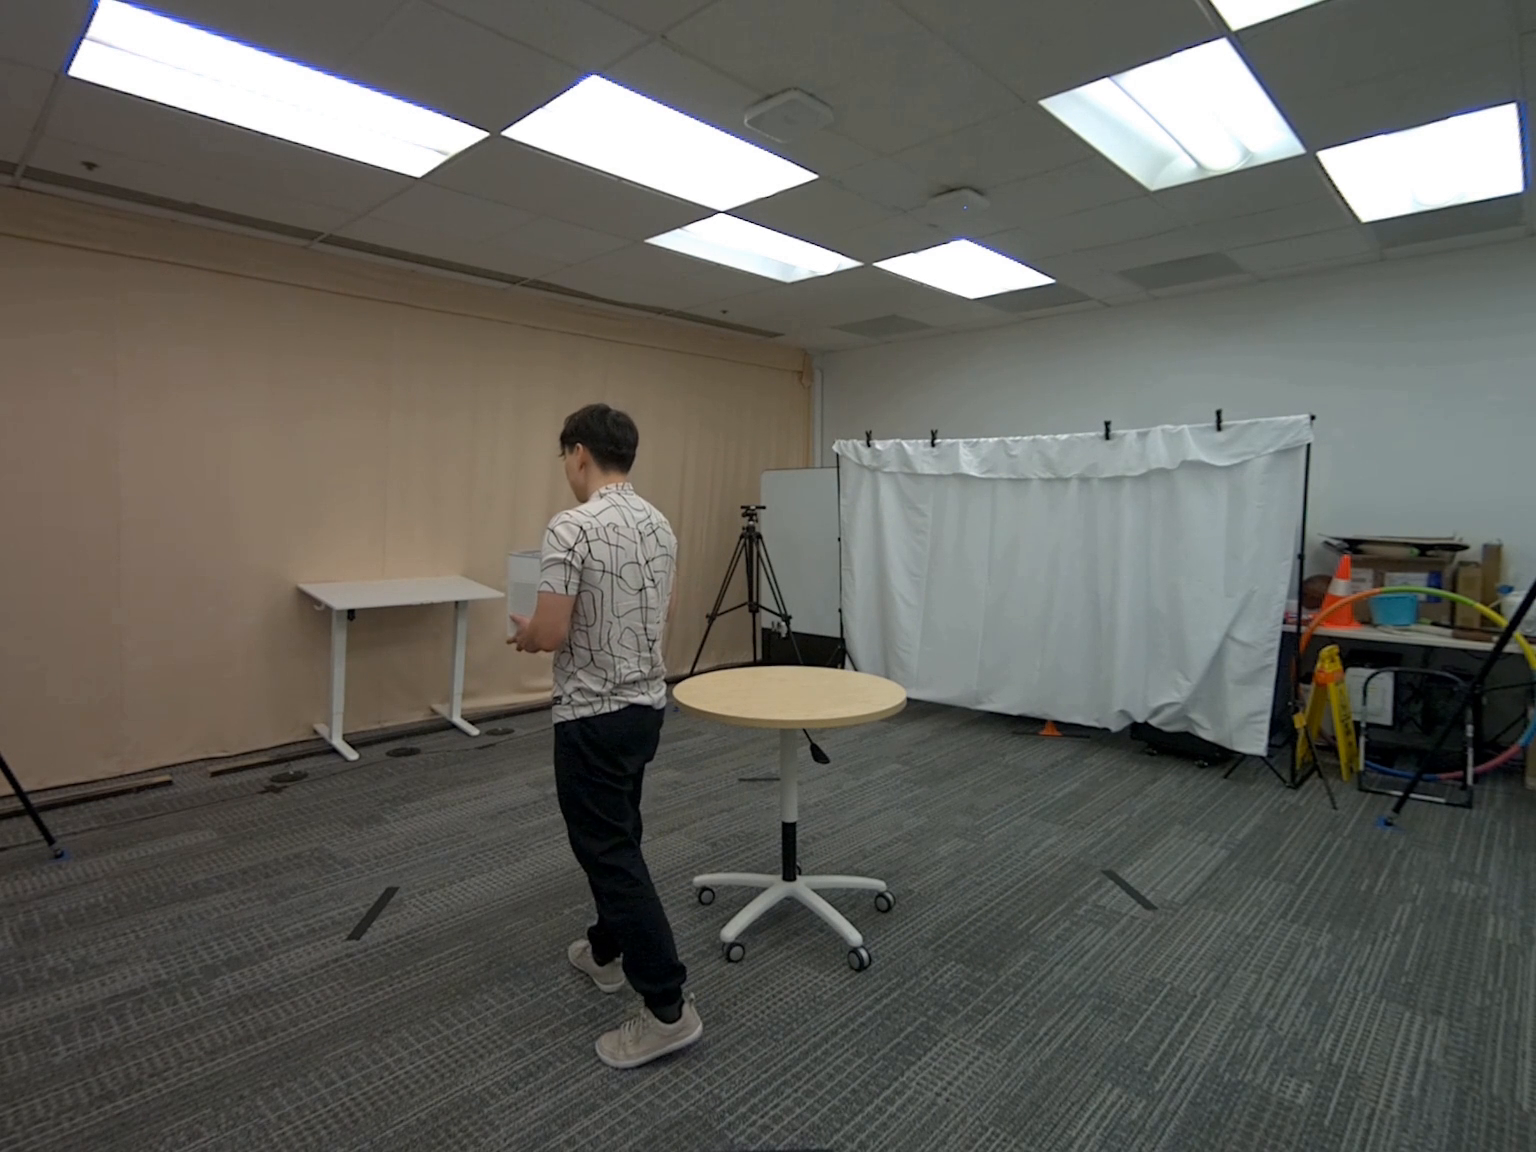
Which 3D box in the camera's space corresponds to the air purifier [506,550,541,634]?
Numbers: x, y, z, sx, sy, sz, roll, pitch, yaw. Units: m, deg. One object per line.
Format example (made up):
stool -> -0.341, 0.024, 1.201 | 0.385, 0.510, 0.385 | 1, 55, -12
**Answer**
air purifier -> -0.655, 0.070, 2.447 | 0.175, 0.264, 0.168 | 6, 9, 17
